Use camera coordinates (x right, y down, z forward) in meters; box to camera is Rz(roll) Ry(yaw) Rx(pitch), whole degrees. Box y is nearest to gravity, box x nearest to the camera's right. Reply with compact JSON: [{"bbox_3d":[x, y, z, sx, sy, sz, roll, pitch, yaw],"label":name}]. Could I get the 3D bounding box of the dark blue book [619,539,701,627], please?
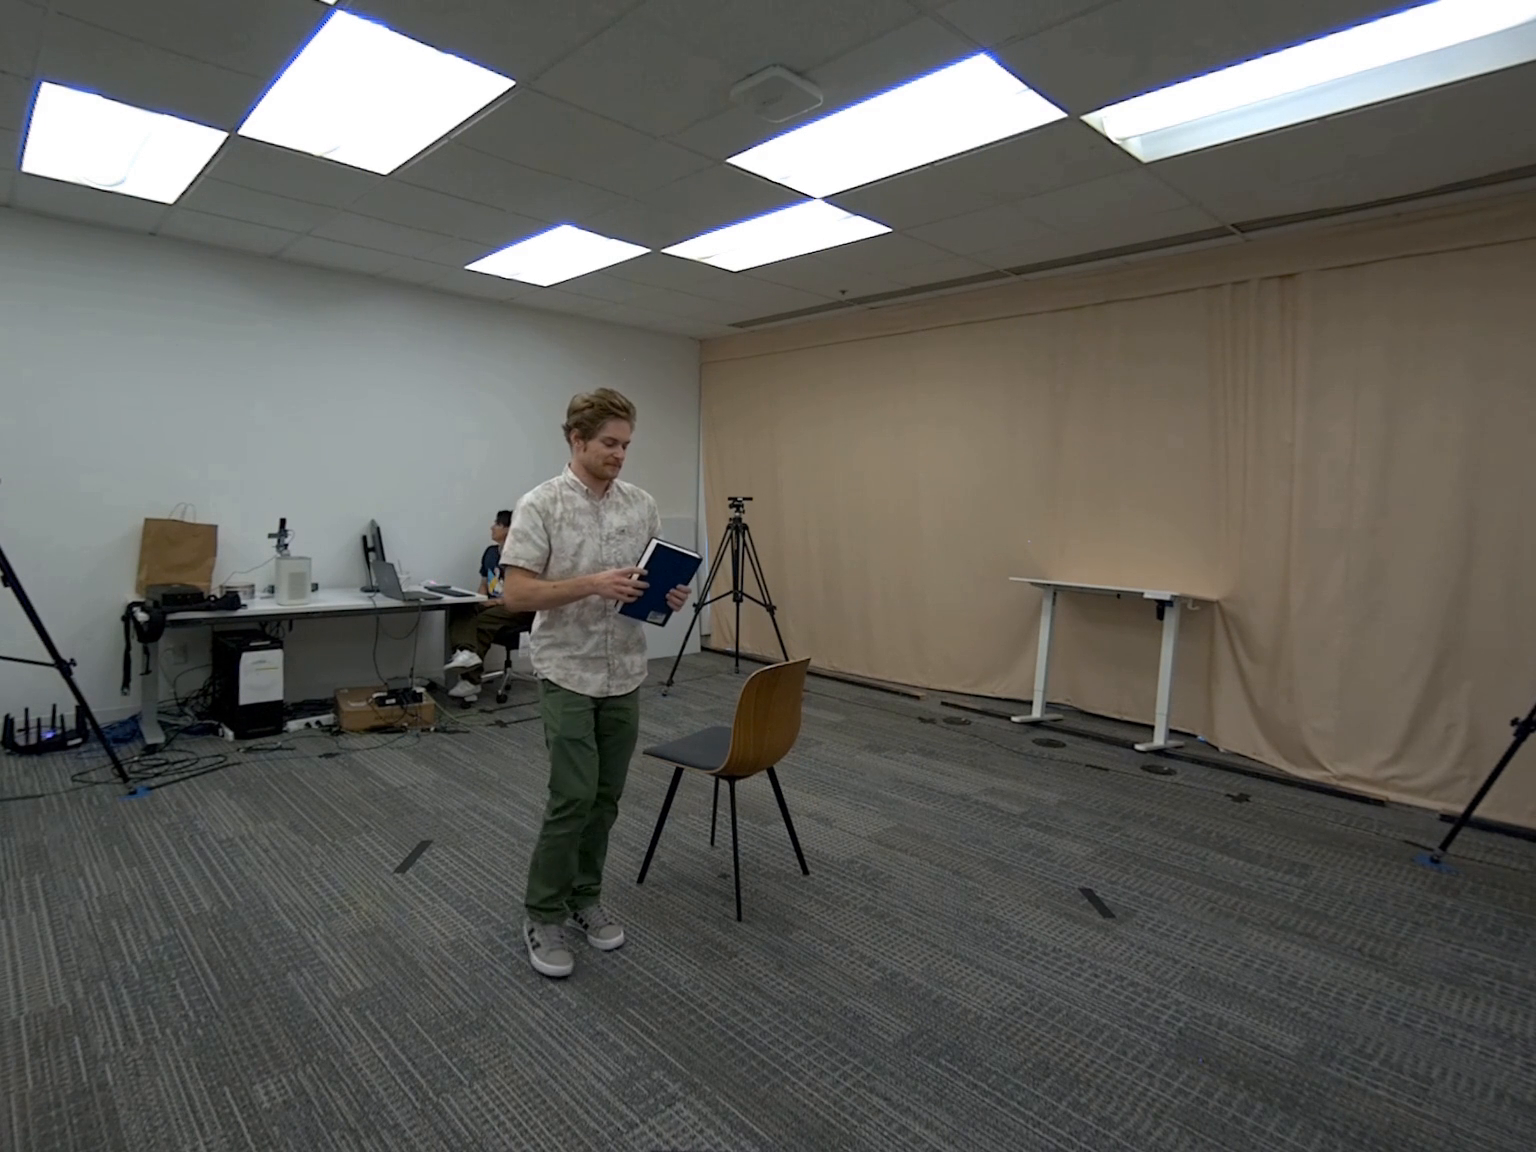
[{"bbox_3d":[-0.331,0.021,2.429,0.159,0.244,0.046,22,16,-32],"label":"dark blue book"}]
